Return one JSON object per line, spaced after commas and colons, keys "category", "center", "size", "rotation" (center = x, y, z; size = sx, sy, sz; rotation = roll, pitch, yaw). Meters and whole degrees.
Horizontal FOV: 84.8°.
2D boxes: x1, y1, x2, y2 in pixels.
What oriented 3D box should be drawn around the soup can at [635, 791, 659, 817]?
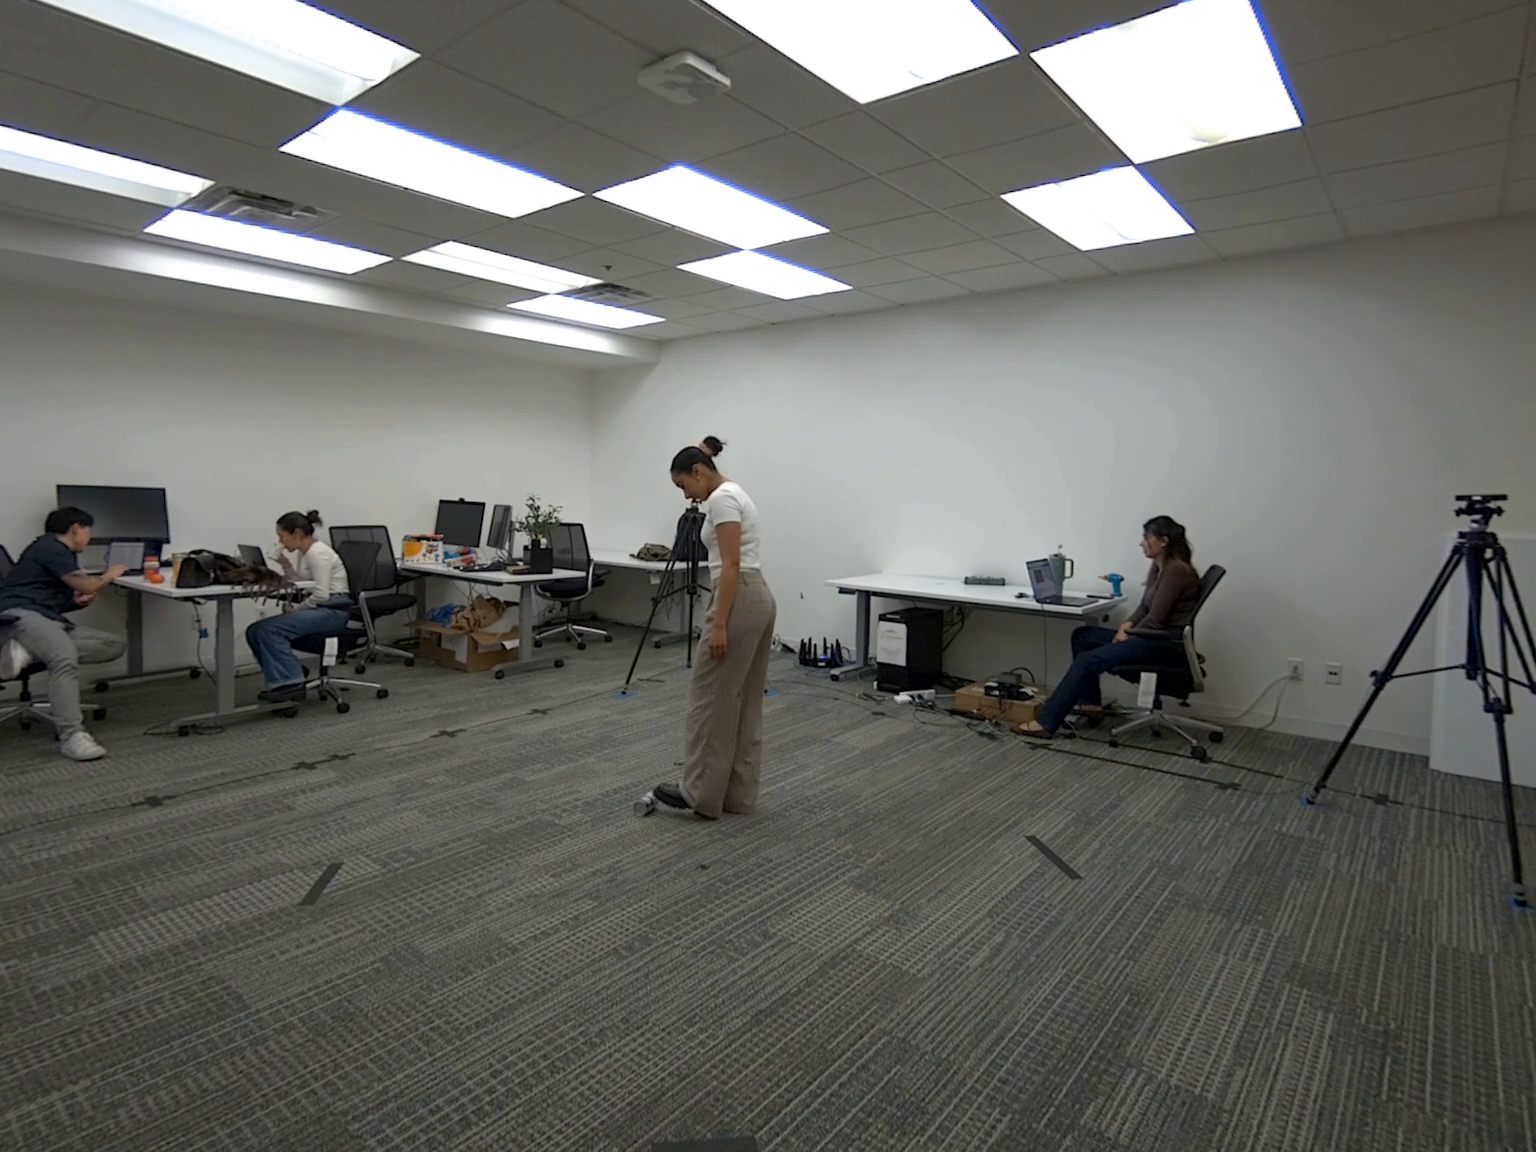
{"category": "soup can", "center": [-0.523, 0.961, 3.658], "size": [0.068, 0.066, 0.120], "rotation": [2, 10, 18]}
